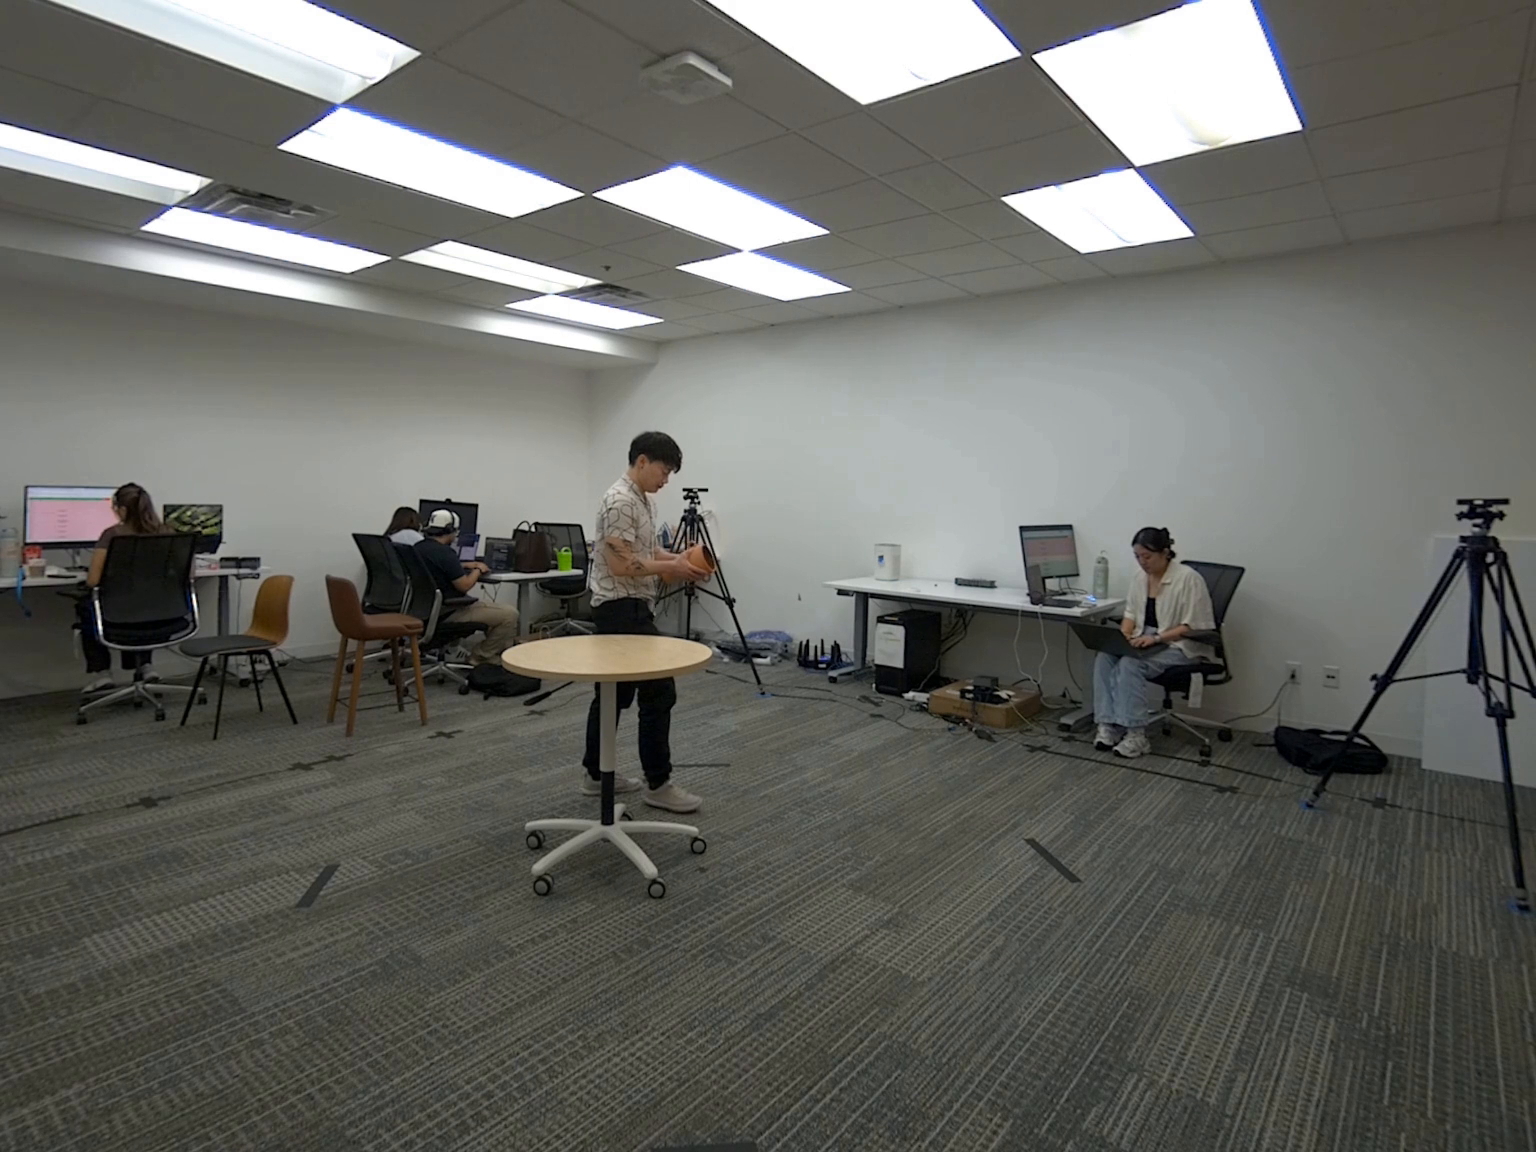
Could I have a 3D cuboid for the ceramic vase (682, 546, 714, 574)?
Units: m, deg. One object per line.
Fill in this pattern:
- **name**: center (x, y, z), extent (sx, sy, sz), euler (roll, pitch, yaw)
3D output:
- **ceramic vase**: center (-0.360, -0.043, 3.772), extent (0.222, 0.164, 0.129), euler (-21, -31, 13)
